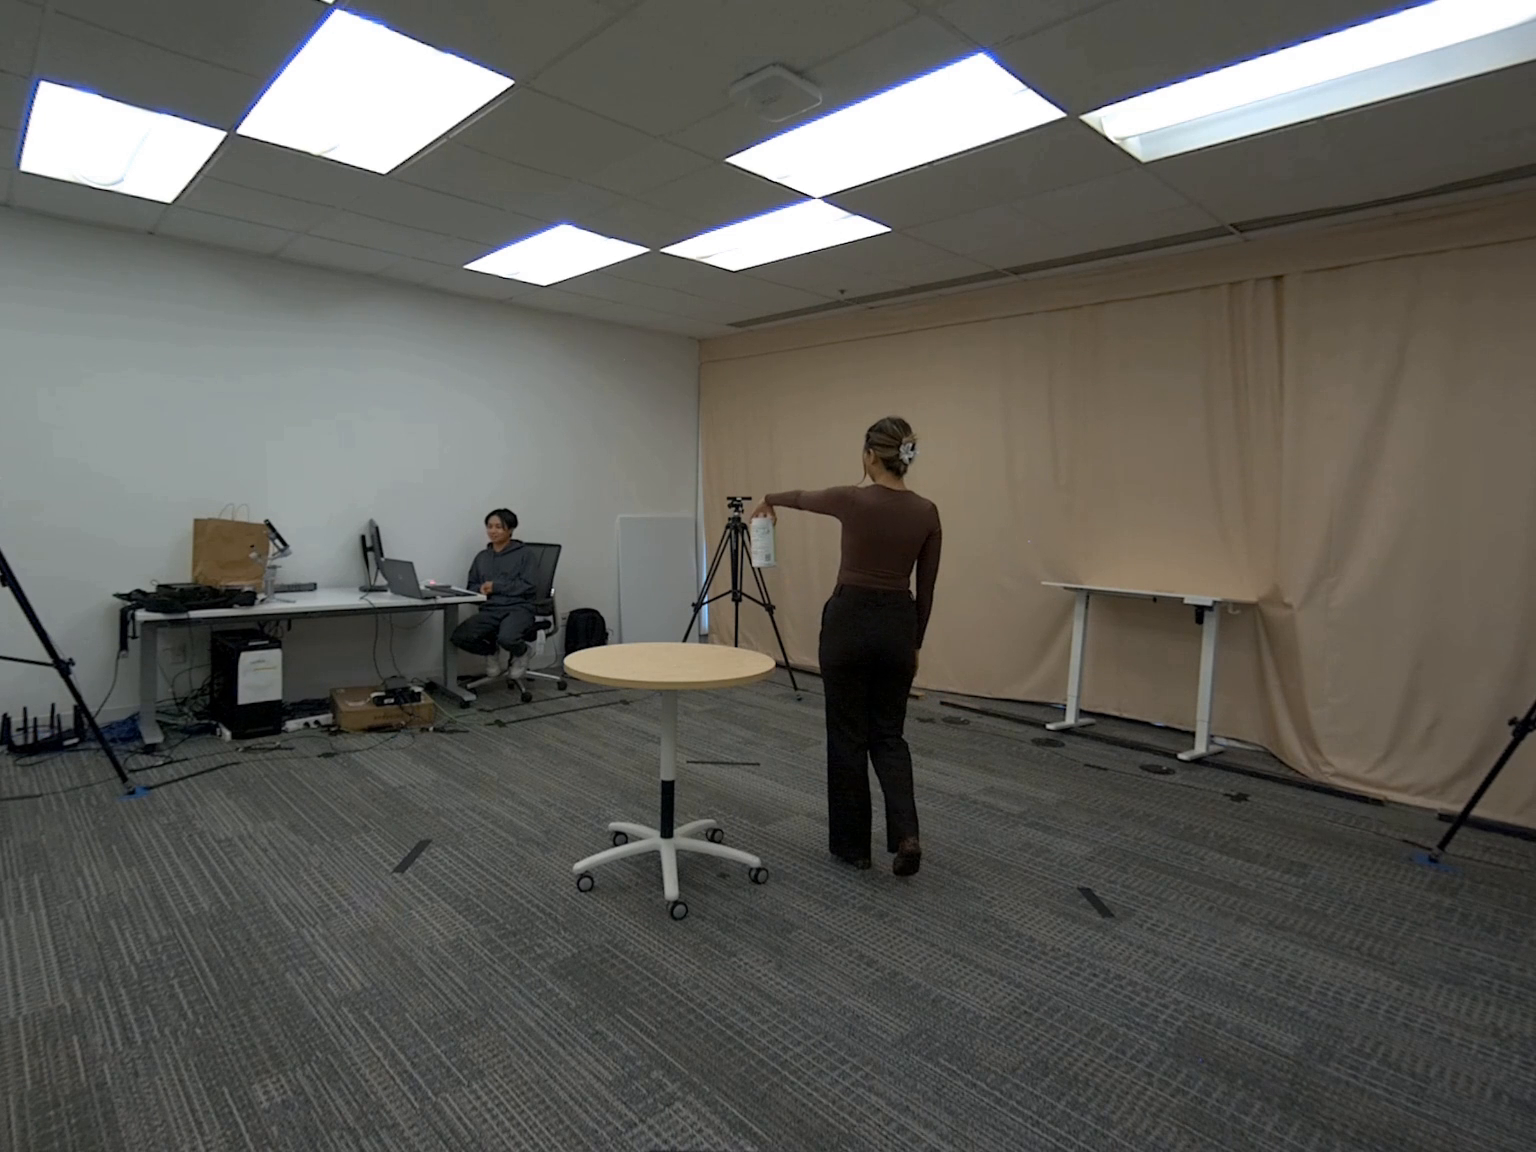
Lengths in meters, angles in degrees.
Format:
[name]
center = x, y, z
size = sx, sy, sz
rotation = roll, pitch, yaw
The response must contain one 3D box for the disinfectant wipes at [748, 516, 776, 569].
[disinfectant wipes]
center = -0.021, -0.147, 3.679
size = 0.118, 0.217, 0.118
rotation = -2, 3, -1
